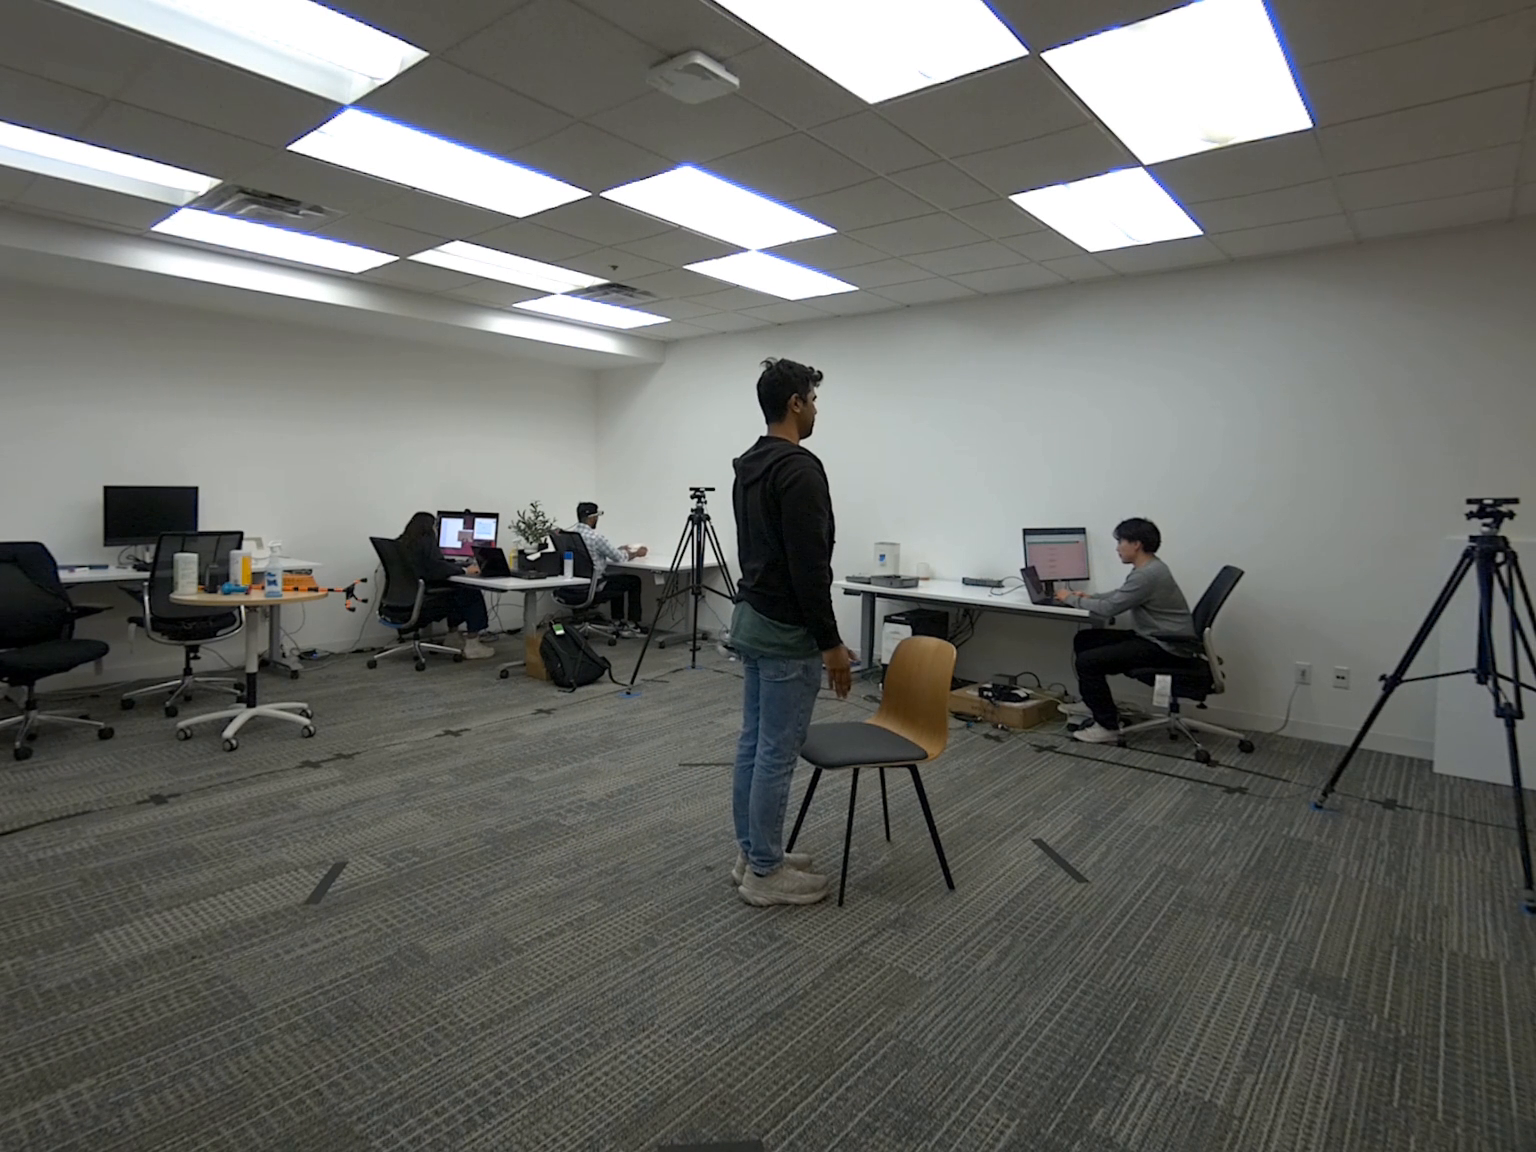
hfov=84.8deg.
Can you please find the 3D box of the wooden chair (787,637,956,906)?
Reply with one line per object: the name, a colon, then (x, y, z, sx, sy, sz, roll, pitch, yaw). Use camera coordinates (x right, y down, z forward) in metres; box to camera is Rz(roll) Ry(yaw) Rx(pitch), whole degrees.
wooden chair: (0.358, 0.650, 3.096, 0.512, 0.875, 0.490, 4, 3, -21)
